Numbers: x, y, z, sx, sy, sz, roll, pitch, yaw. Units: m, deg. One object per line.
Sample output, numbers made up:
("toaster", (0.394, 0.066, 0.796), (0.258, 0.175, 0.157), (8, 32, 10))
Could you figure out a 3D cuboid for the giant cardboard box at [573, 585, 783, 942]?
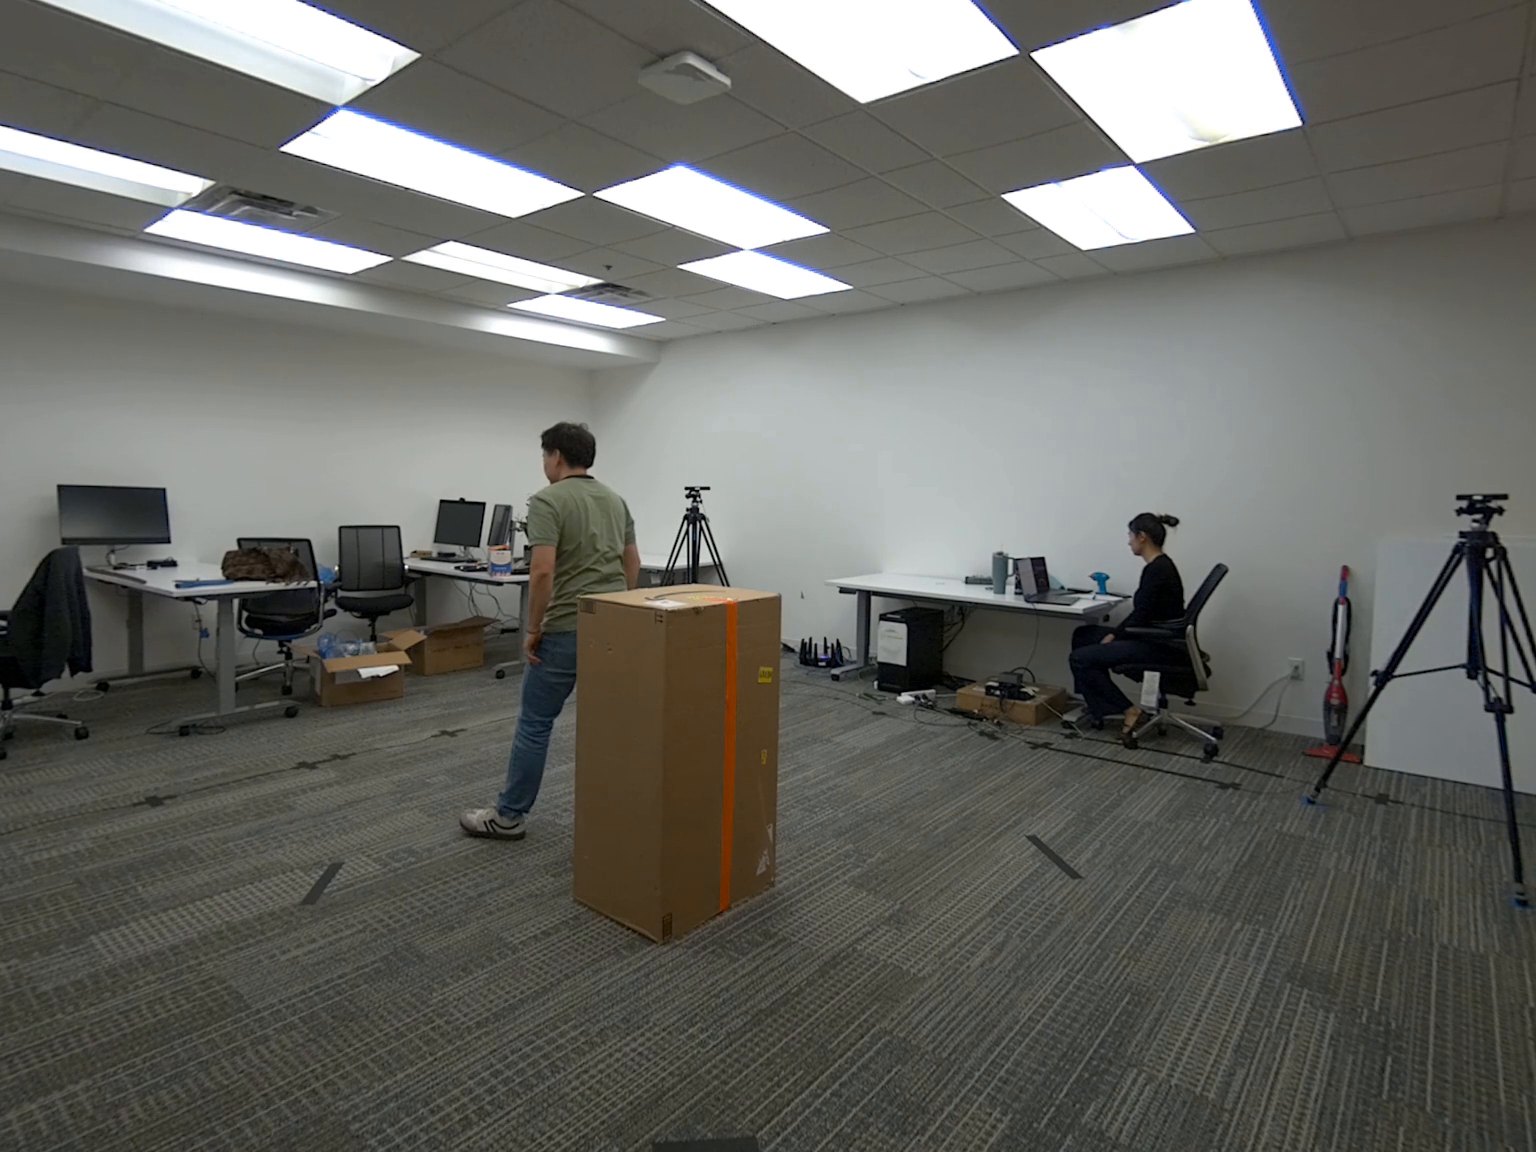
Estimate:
("giant cardboard box", (-0.305, 0.573, 2.902), (0.440, 1.023, 0.560), (3, 4, 40))
